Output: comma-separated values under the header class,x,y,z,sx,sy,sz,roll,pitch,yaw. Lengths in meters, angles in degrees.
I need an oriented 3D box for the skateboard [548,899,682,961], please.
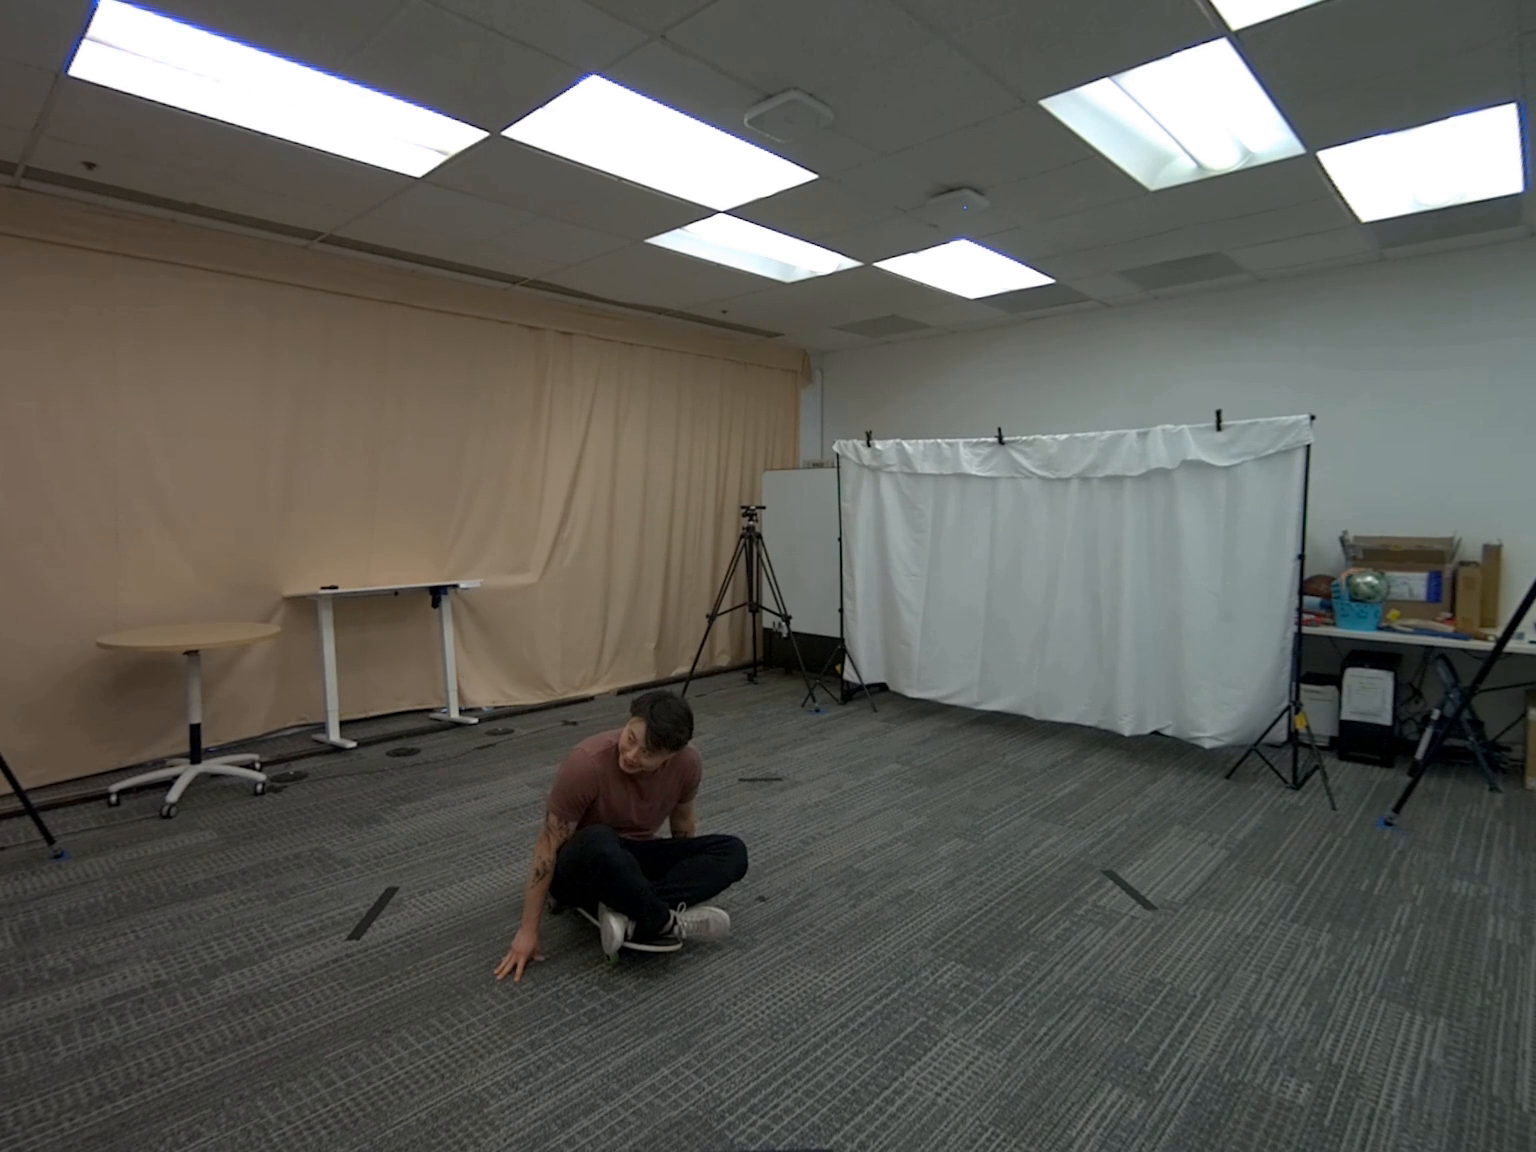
class,x,y,z,sx,sy,sz,roll,pitch,yaw
skateboard,-0.550,1.114,2.764,0.187,0.110,0.809,11,-5,-35
